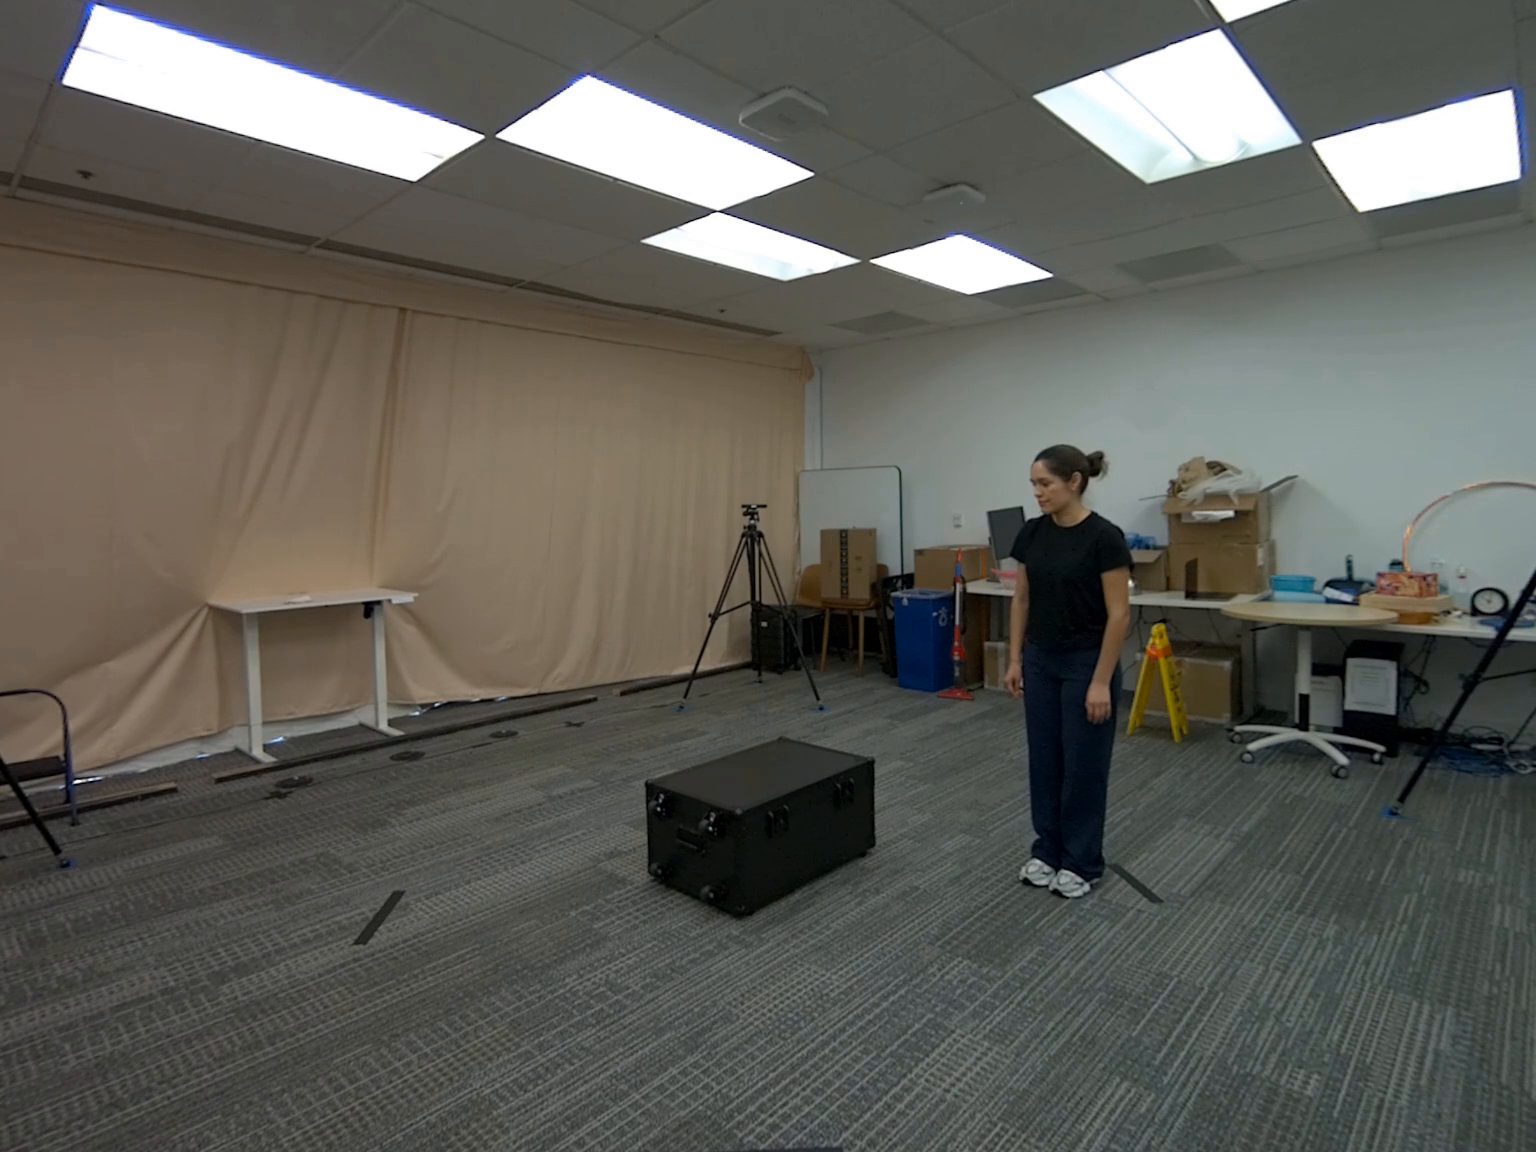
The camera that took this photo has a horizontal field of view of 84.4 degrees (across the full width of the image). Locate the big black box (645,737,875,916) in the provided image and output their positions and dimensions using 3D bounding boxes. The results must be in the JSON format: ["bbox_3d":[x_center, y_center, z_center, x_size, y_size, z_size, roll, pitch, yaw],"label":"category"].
[{"bbox_3d":[-0.020,0.928,3.218,0.538,0.395,0.835,2,5,43],"label":"big black box"}]
